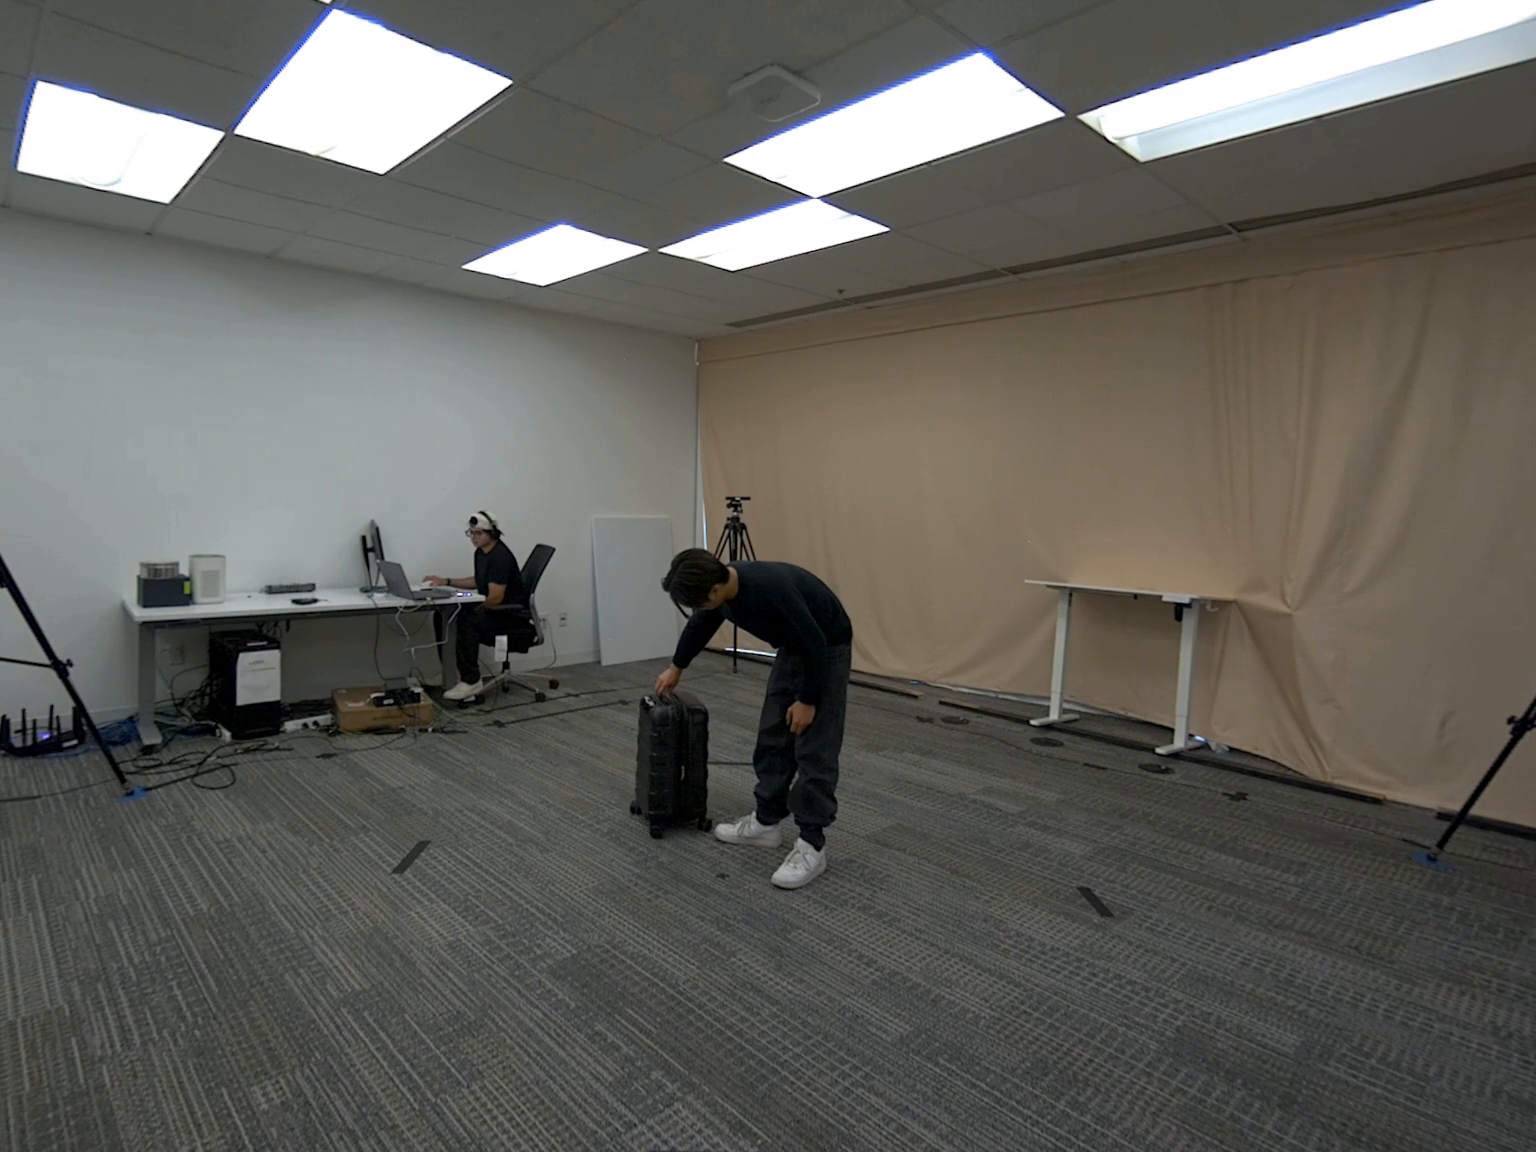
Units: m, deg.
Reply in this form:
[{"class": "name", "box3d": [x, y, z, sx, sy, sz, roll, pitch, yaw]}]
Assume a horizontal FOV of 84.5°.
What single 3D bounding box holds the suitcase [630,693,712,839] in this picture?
[{"class": "suitcase", "box3d": [-0.425, 0.779, 3.616, 0.245, 0.548, 0.381, 1, 3, -18]}]
